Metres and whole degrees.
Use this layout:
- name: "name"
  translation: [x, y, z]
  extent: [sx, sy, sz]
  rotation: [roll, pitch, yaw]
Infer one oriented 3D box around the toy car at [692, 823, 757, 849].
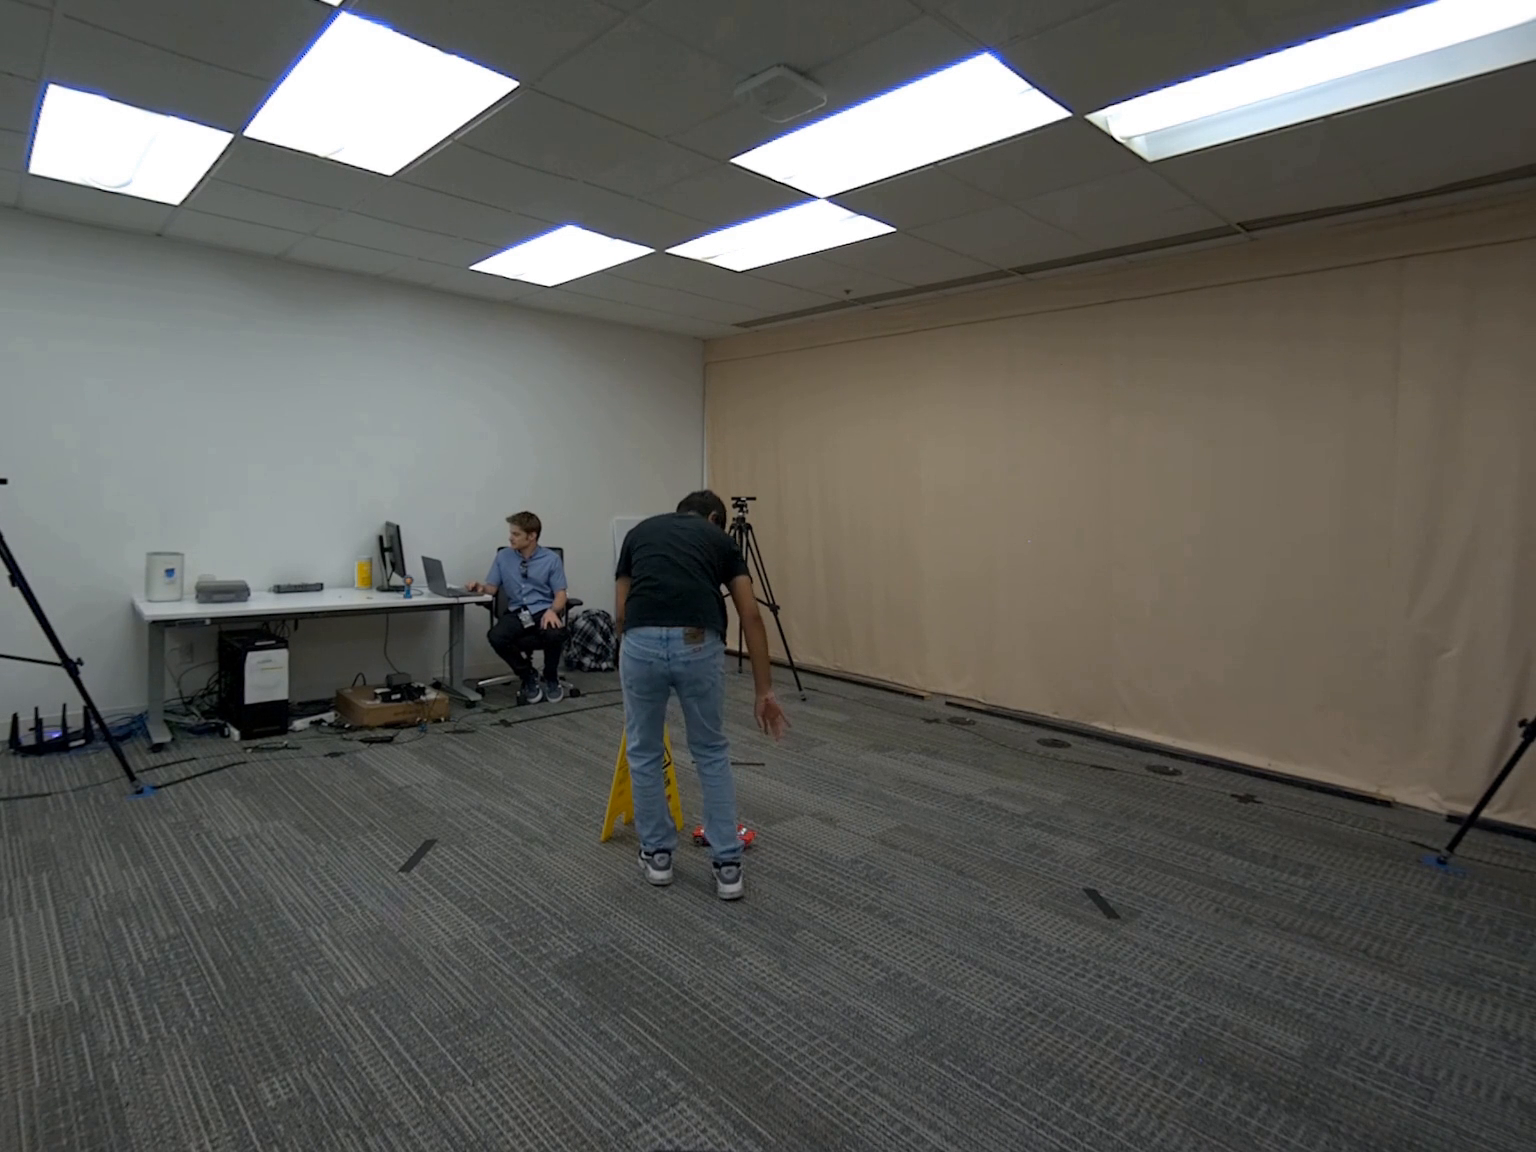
- name: "toy car"
  translation: [-0.181, 1.047, 3.382]
  extent: [0.257, 0.083, 0.129]
  rotation: [-9, 3, 15]
